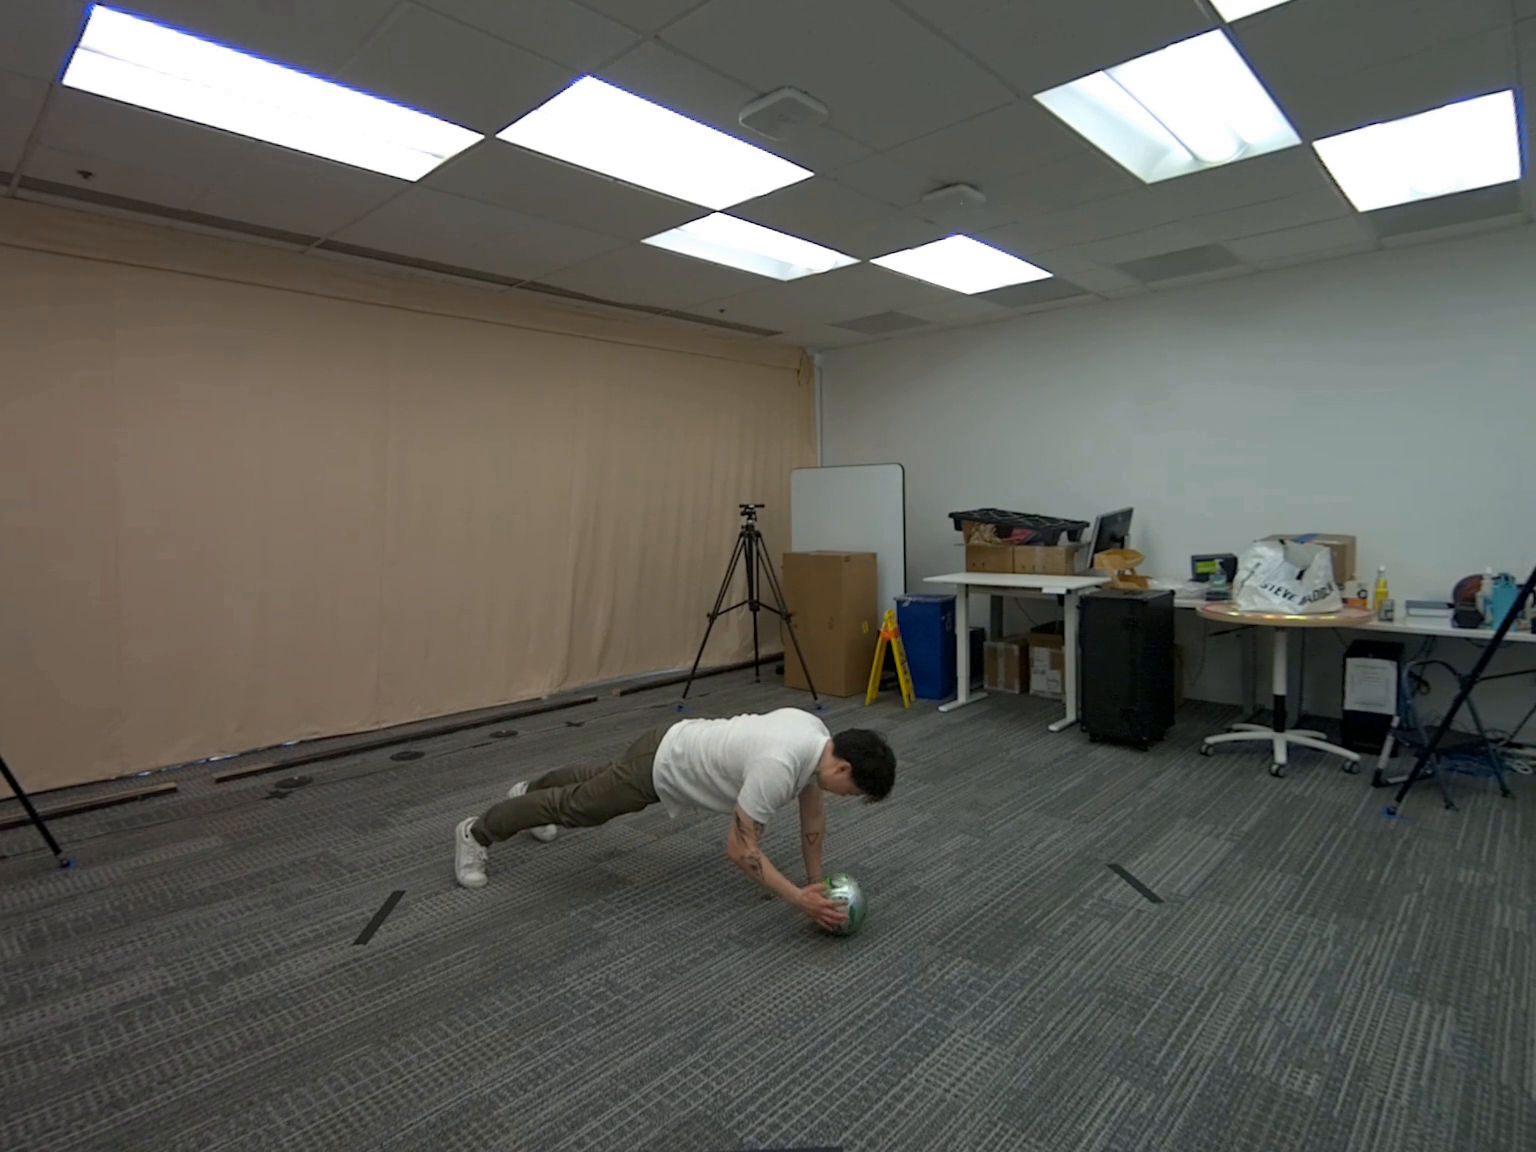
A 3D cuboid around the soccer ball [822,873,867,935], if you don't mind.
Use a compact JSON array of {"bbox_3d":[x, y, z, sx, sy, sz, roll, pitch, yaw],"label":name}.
[{"bbox_3d":[0.232,1.065,2.740,0.187,0.187,0.188,-1,4,-2],"label":"soccer ball"}]
